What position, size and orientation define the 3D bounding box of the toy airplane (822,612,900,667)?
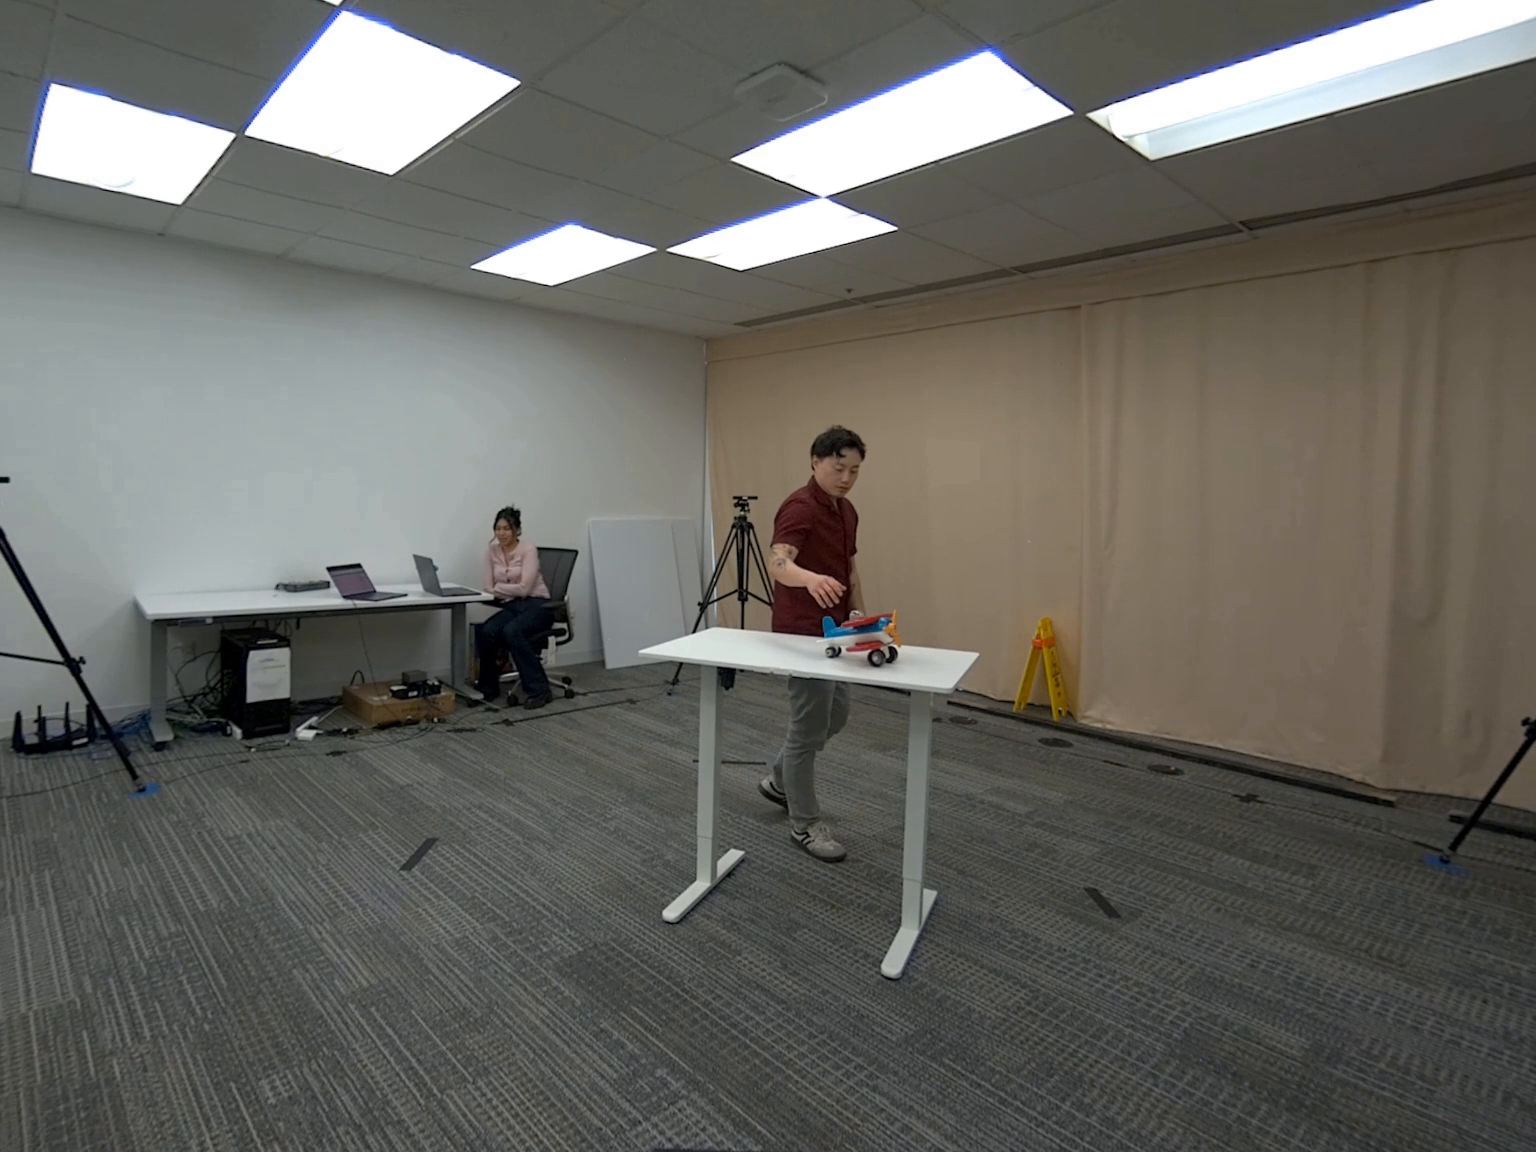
[{"bbox_3d":[0.278,0.200,2.662,0.261,0.156,0.250,2,7,7],"label":"toy airplane"}]
